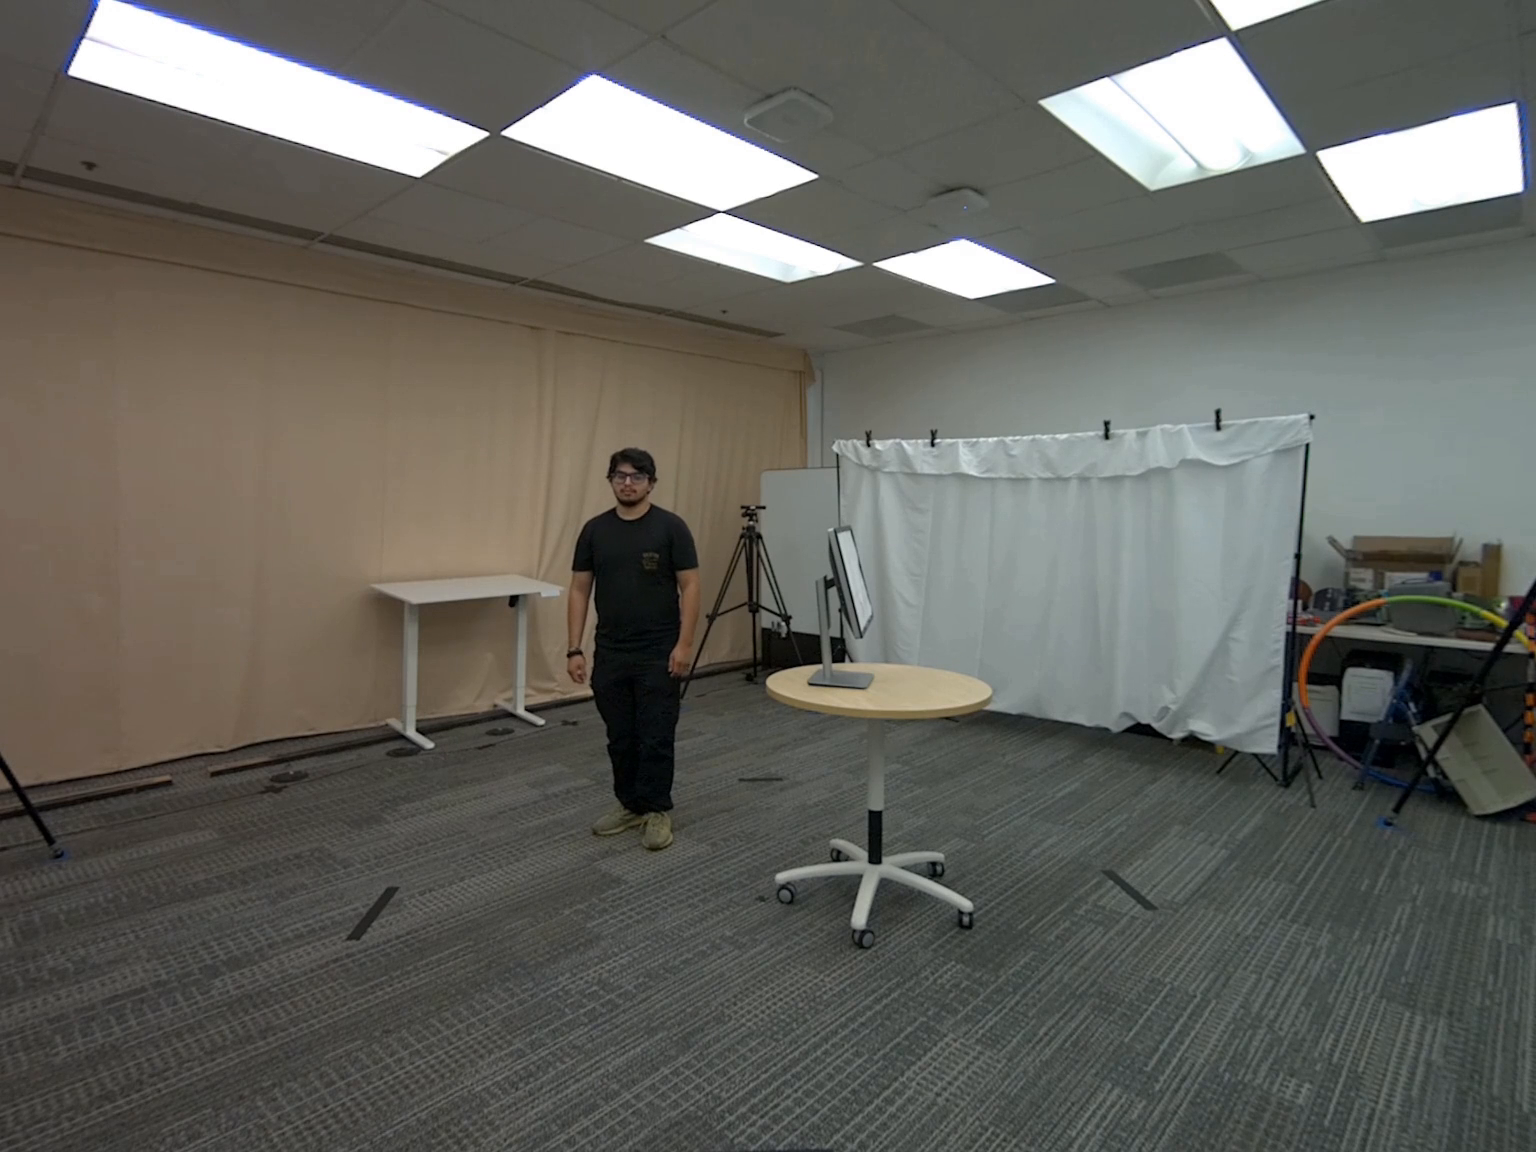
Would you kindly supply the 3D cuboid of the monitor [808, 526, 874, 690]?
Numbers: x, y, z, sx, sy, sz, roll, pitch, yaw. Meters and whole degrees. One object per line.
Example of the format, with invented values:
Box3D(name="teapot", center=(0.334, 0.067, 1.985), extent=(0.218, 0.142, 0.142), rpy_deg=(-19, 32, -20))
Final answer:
Box3D(name="monitor", center=(0.242, 0.104, 2.972), extent=(0.213, 0.553, 0.558), rpy_deg=(-6, 3, 12))
